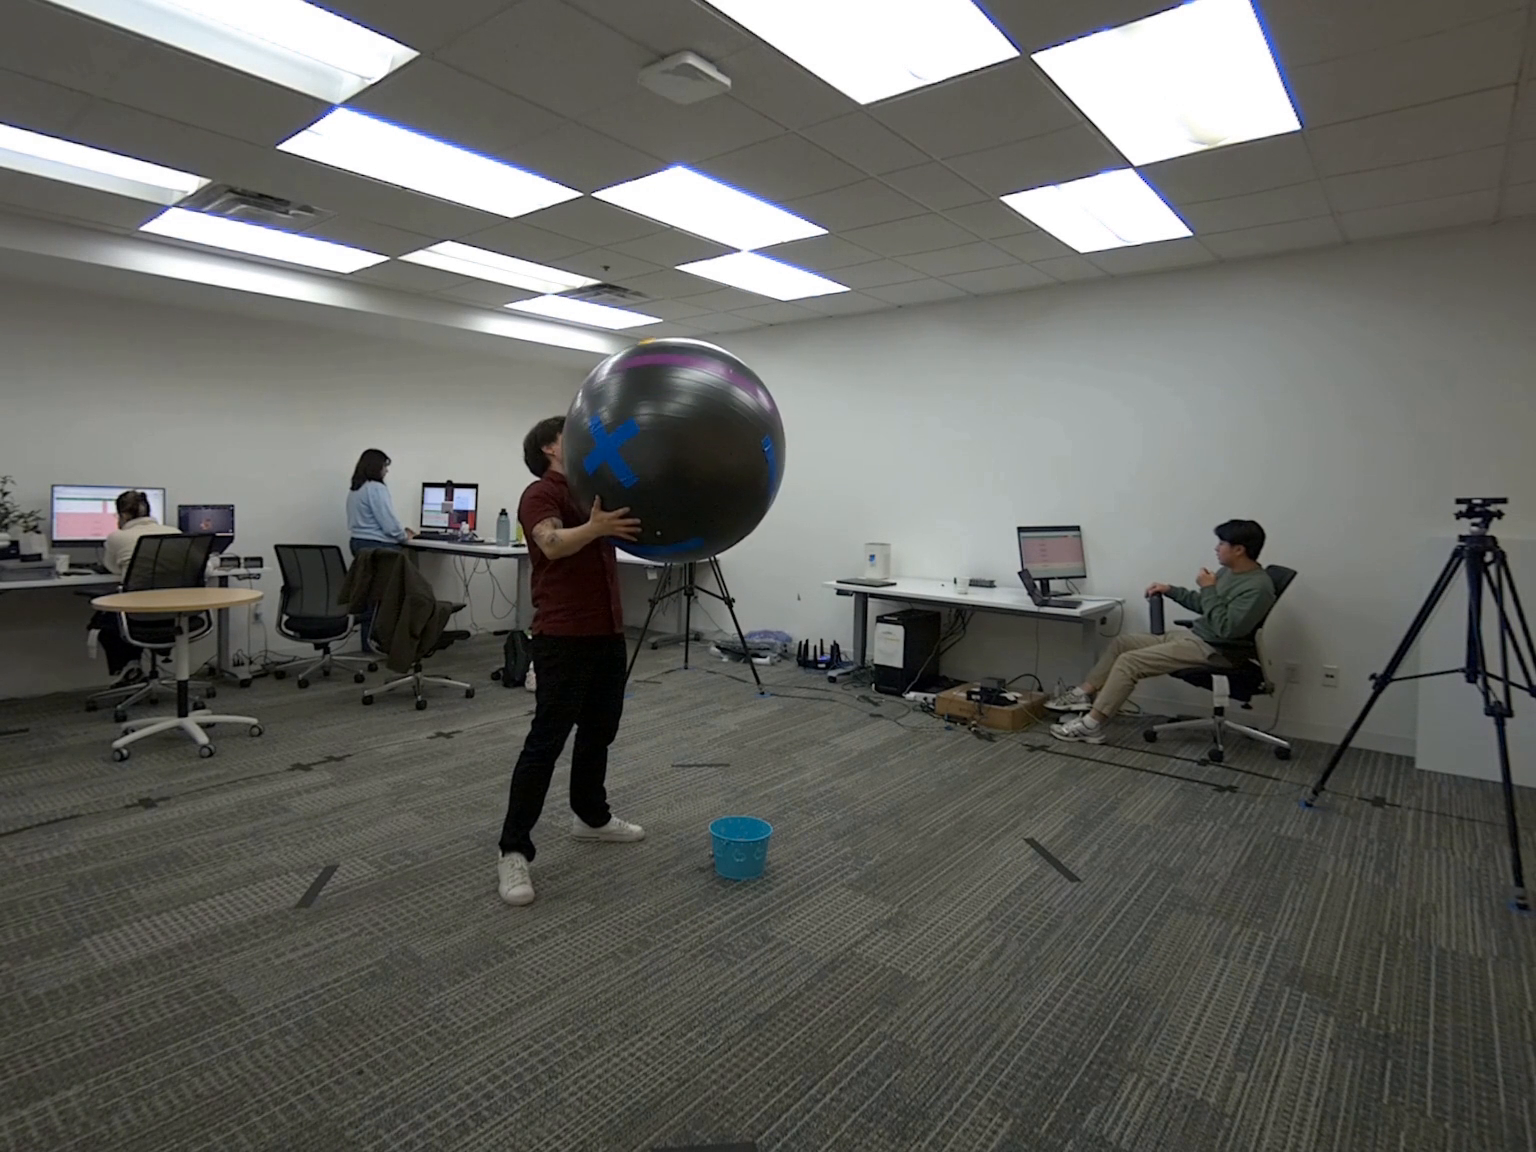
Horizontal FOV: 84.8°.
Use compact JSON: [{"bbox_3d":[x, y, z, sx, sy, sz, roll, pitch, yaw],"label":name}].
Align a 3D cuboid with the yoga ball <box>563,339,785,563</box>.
[{"bbox_3d":[-0.331,-0.421,2.894,0.757,0.756,0.762,1,4,-2],"label":"yoga ball"}]
